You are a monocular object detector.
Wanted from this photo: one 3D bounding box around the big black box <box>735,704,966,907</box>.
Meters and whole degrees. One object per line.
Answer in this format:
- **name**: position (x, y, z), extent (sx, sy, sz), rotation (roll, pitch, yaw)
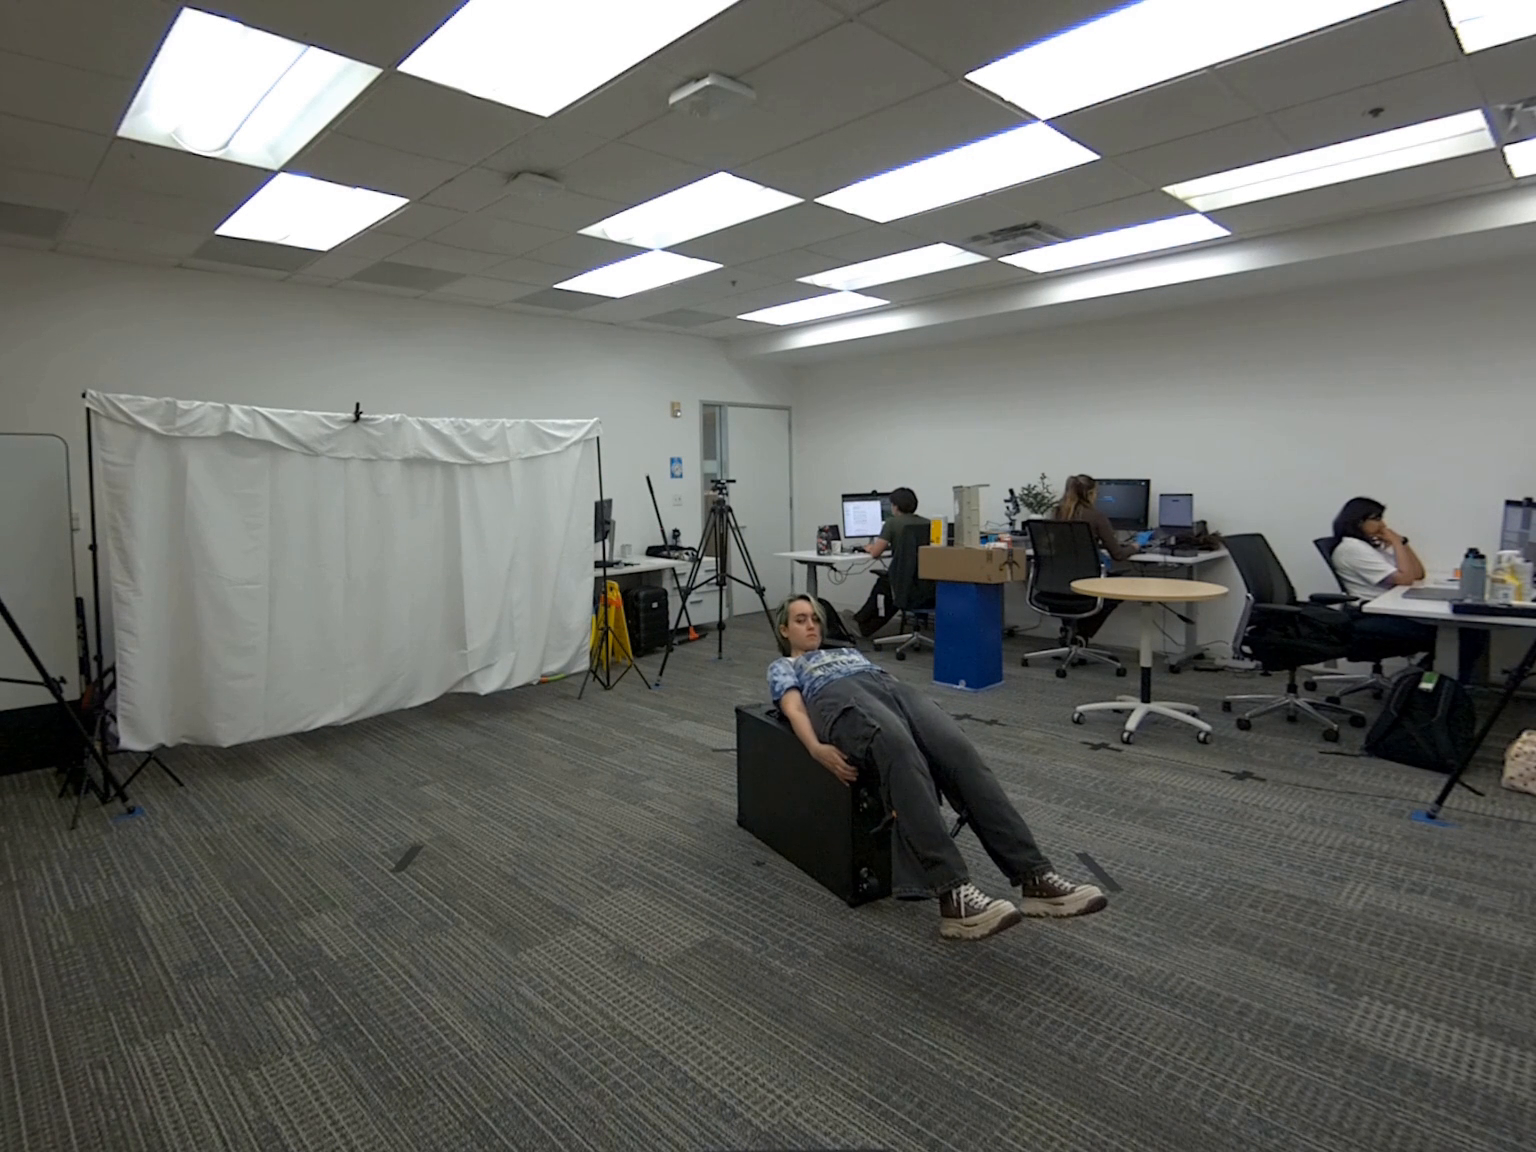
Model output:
- **big black box**: position (0.246, 0.793, 3.161), extent (0.387, 0.519, 0.885), rotation (-3, 7, -28)
